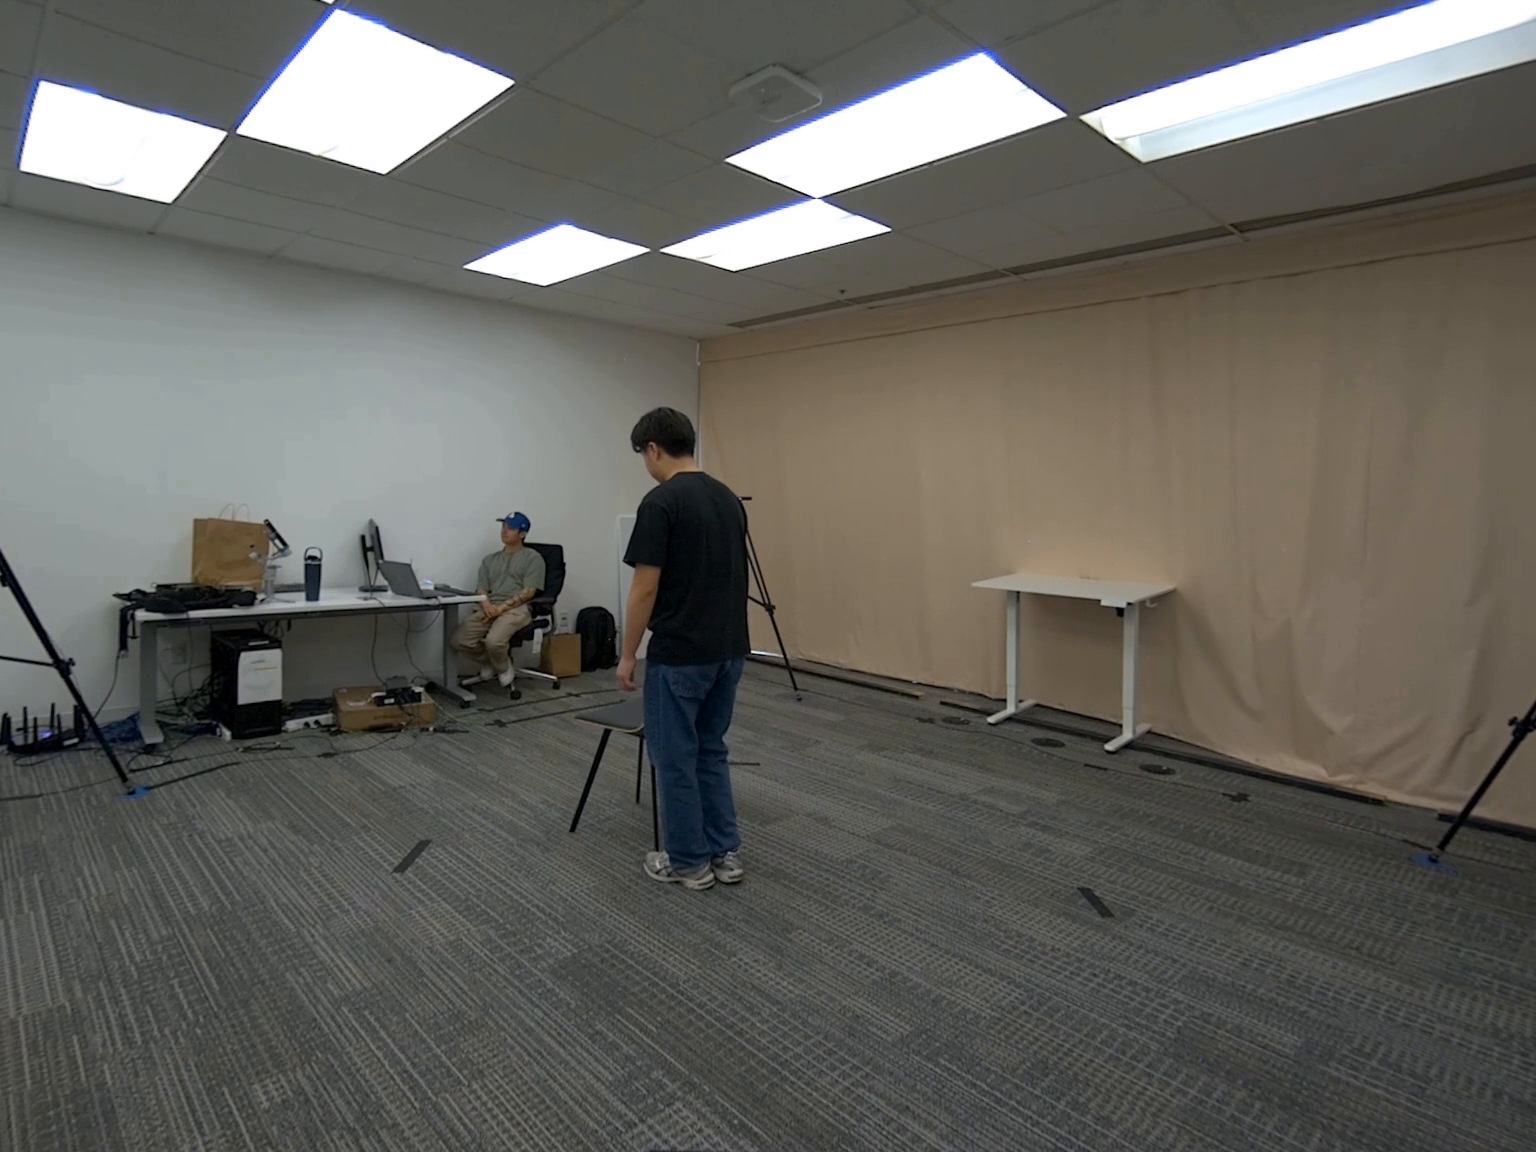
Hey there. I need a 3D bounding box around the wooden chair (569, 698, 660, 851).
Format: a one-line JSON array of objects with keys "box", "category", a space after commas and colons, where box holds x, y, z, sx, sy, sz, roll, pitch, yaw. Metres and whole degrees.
[{"box": [-0.511, 0.638, 3.517, 0.535, 0.874, 0.468, 8, 6, 30], "category": "wooden chair"}]
